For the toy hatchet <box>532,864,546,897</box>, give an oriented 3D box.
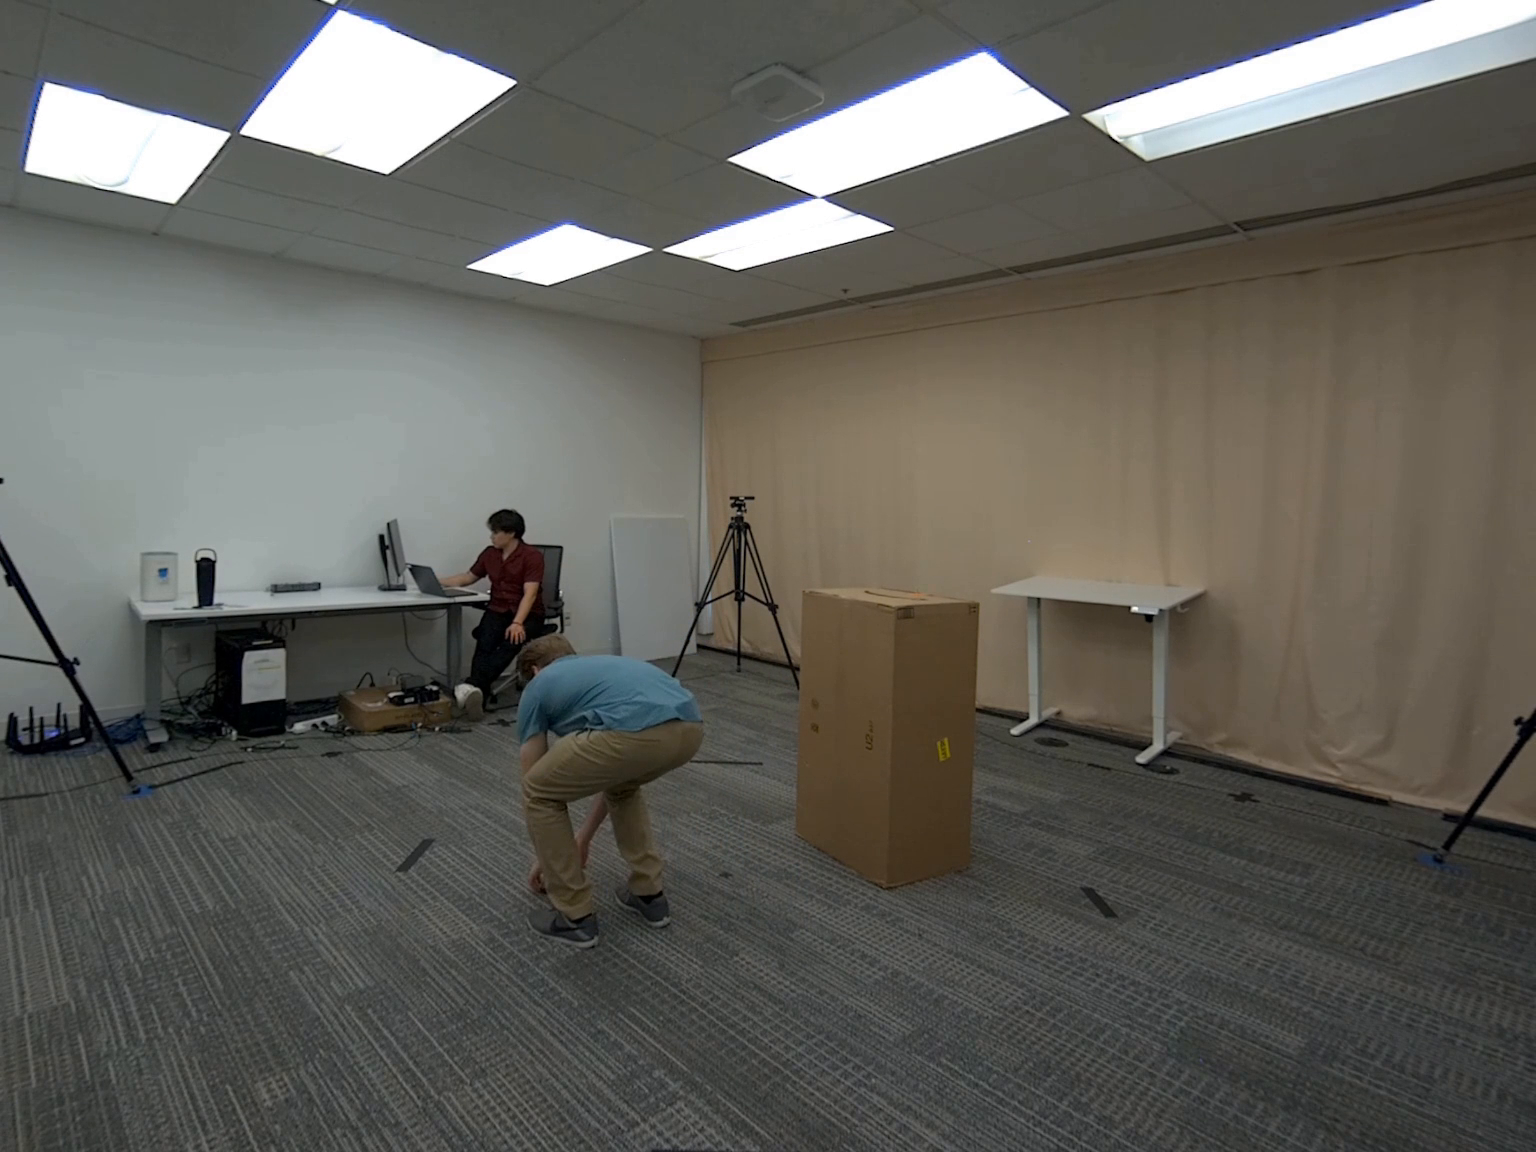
[{"bbox_3d":[-0.735,1.081,3.054,0.130,0.029,0.272,5,8,-7],"label":"toy hatchet"}]
